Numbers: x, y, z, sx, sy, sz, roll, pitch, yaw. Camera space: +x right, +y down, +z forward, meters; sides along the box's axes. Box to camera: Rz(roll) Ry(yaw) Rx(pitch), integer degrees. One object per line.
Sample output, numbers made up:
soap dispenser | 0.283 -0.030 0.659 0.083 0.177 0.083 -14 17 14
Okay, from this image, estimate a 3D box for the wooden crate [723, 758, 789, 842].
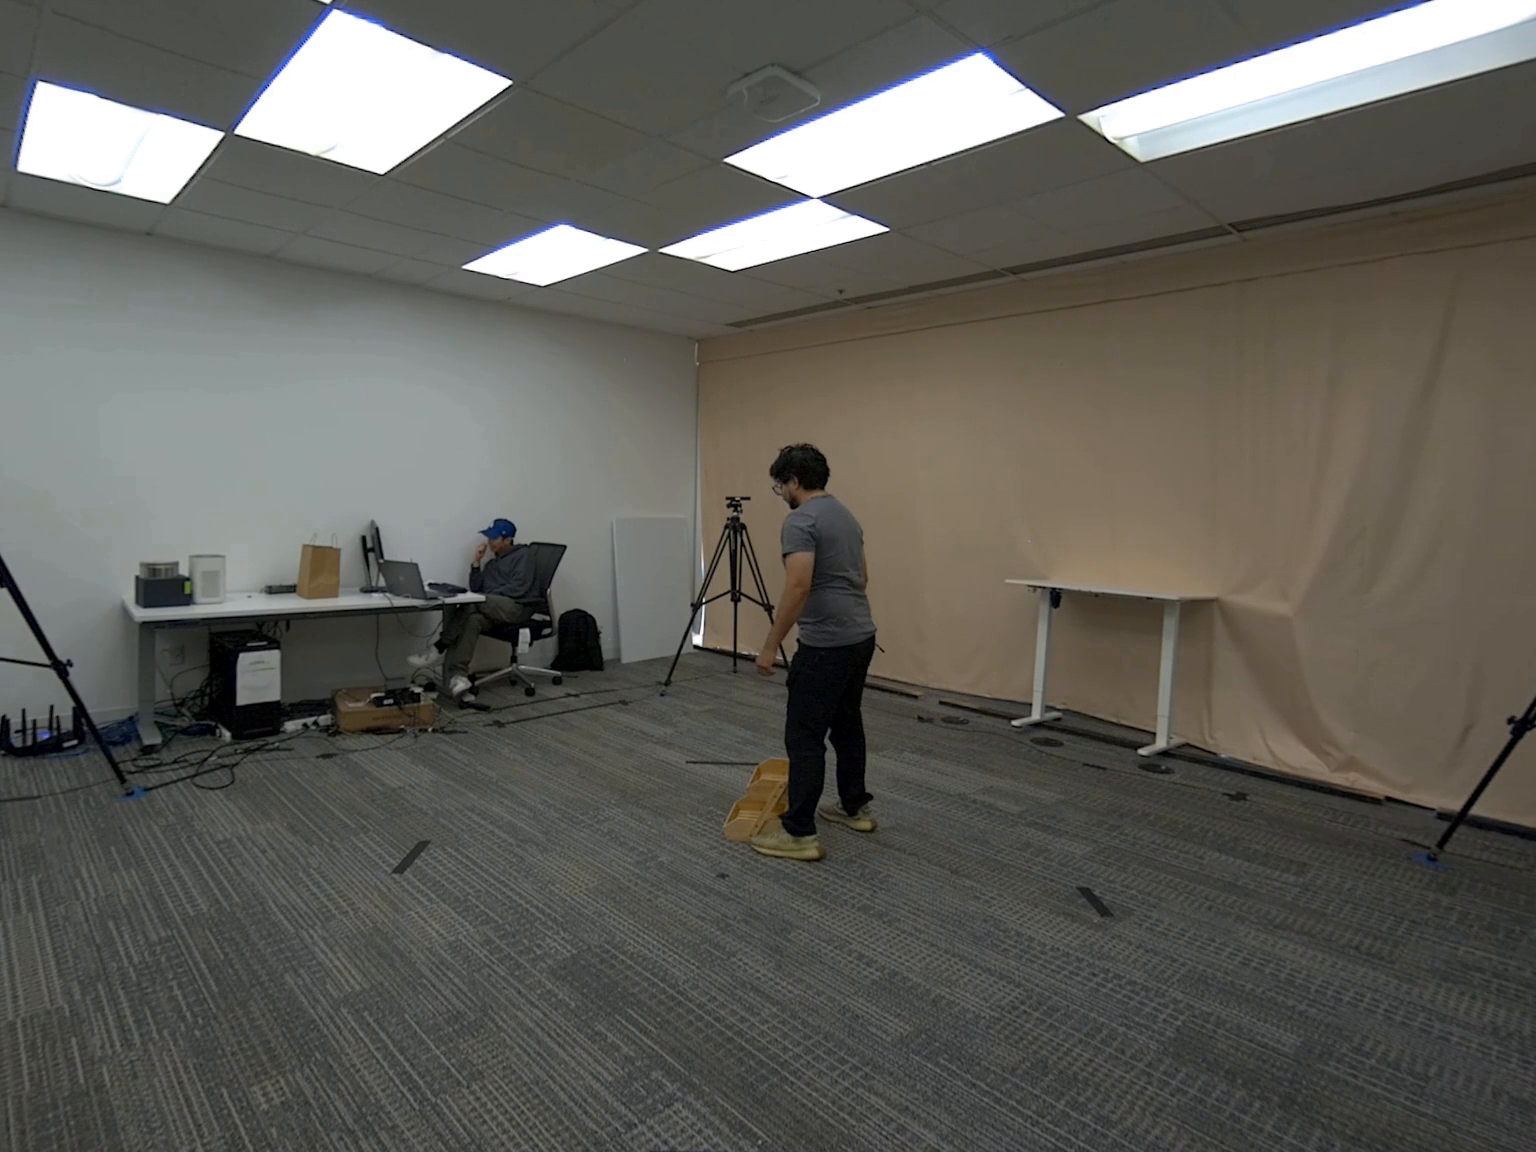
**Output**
wooden crate | -0.030 0.944 3.565 0.304 0.273 0.323 2 4 8
